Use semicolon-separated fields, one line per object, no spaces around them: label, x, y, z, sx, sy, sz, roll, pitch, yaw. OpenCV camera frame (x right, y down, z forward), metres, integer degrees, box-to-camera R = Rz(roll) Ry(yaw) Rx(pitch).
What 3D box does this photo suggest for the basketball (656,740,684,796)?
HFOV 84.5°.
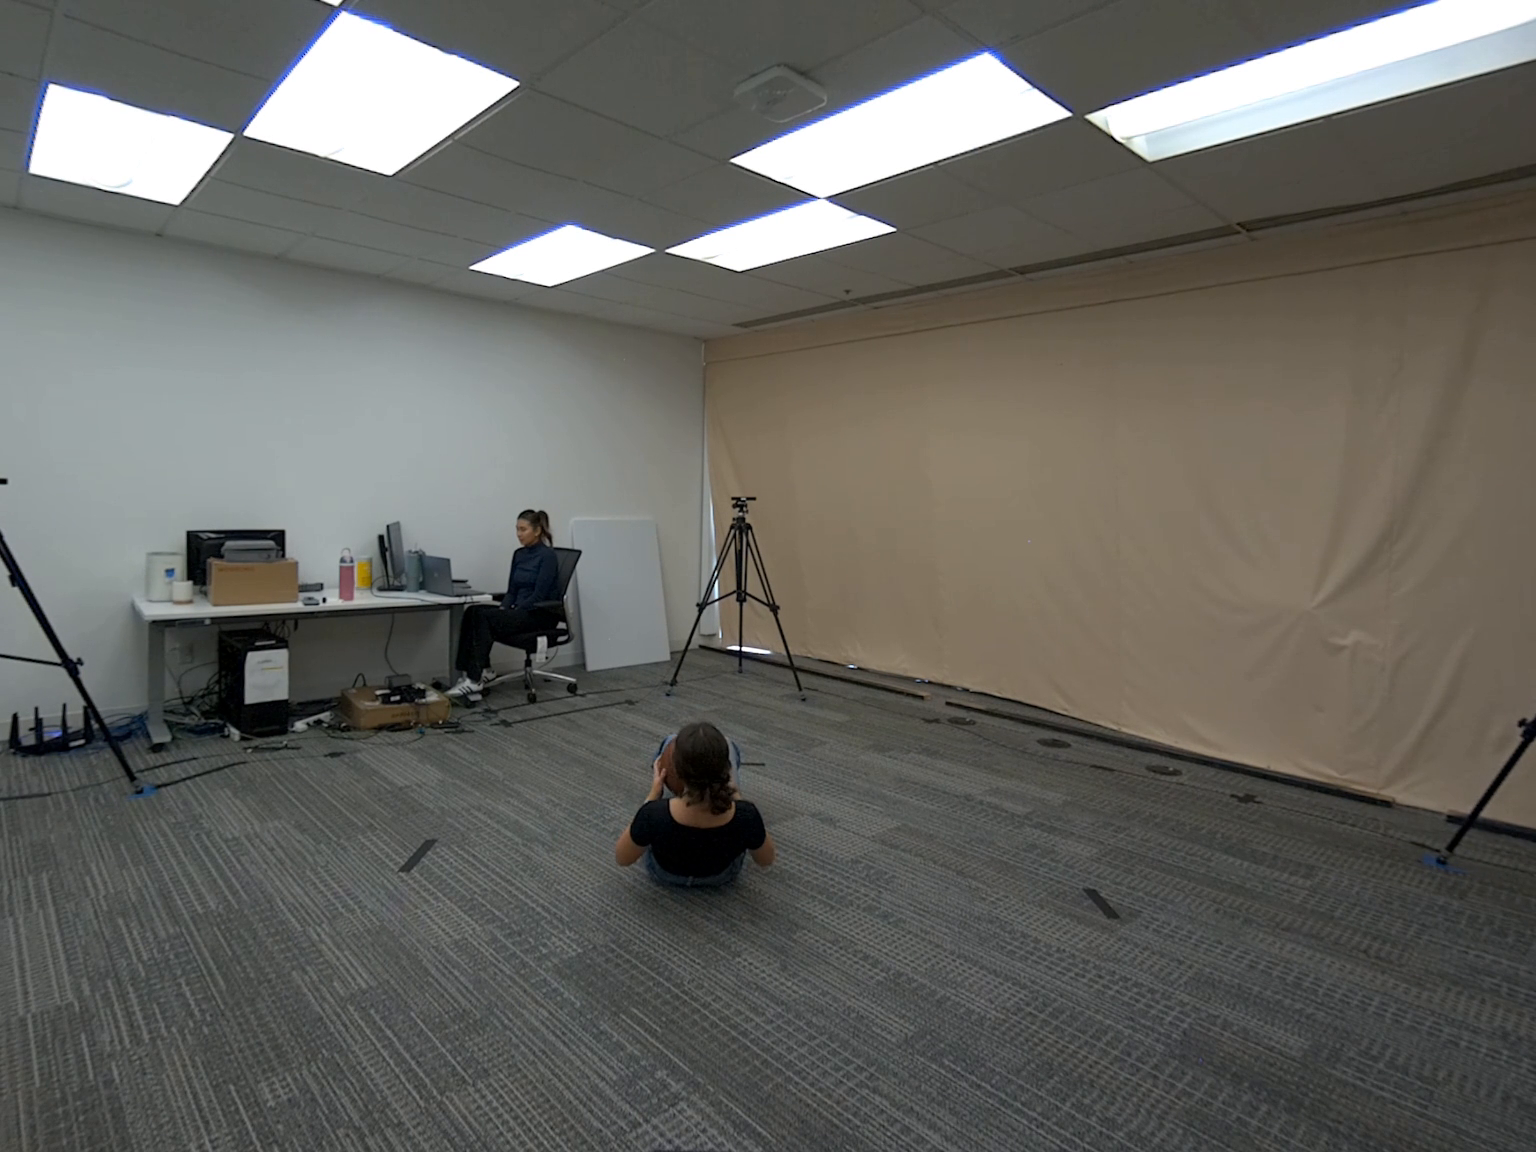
basketball;-0.287;0.694;3.049;0.236;0.235;0.237;1;4;-1
